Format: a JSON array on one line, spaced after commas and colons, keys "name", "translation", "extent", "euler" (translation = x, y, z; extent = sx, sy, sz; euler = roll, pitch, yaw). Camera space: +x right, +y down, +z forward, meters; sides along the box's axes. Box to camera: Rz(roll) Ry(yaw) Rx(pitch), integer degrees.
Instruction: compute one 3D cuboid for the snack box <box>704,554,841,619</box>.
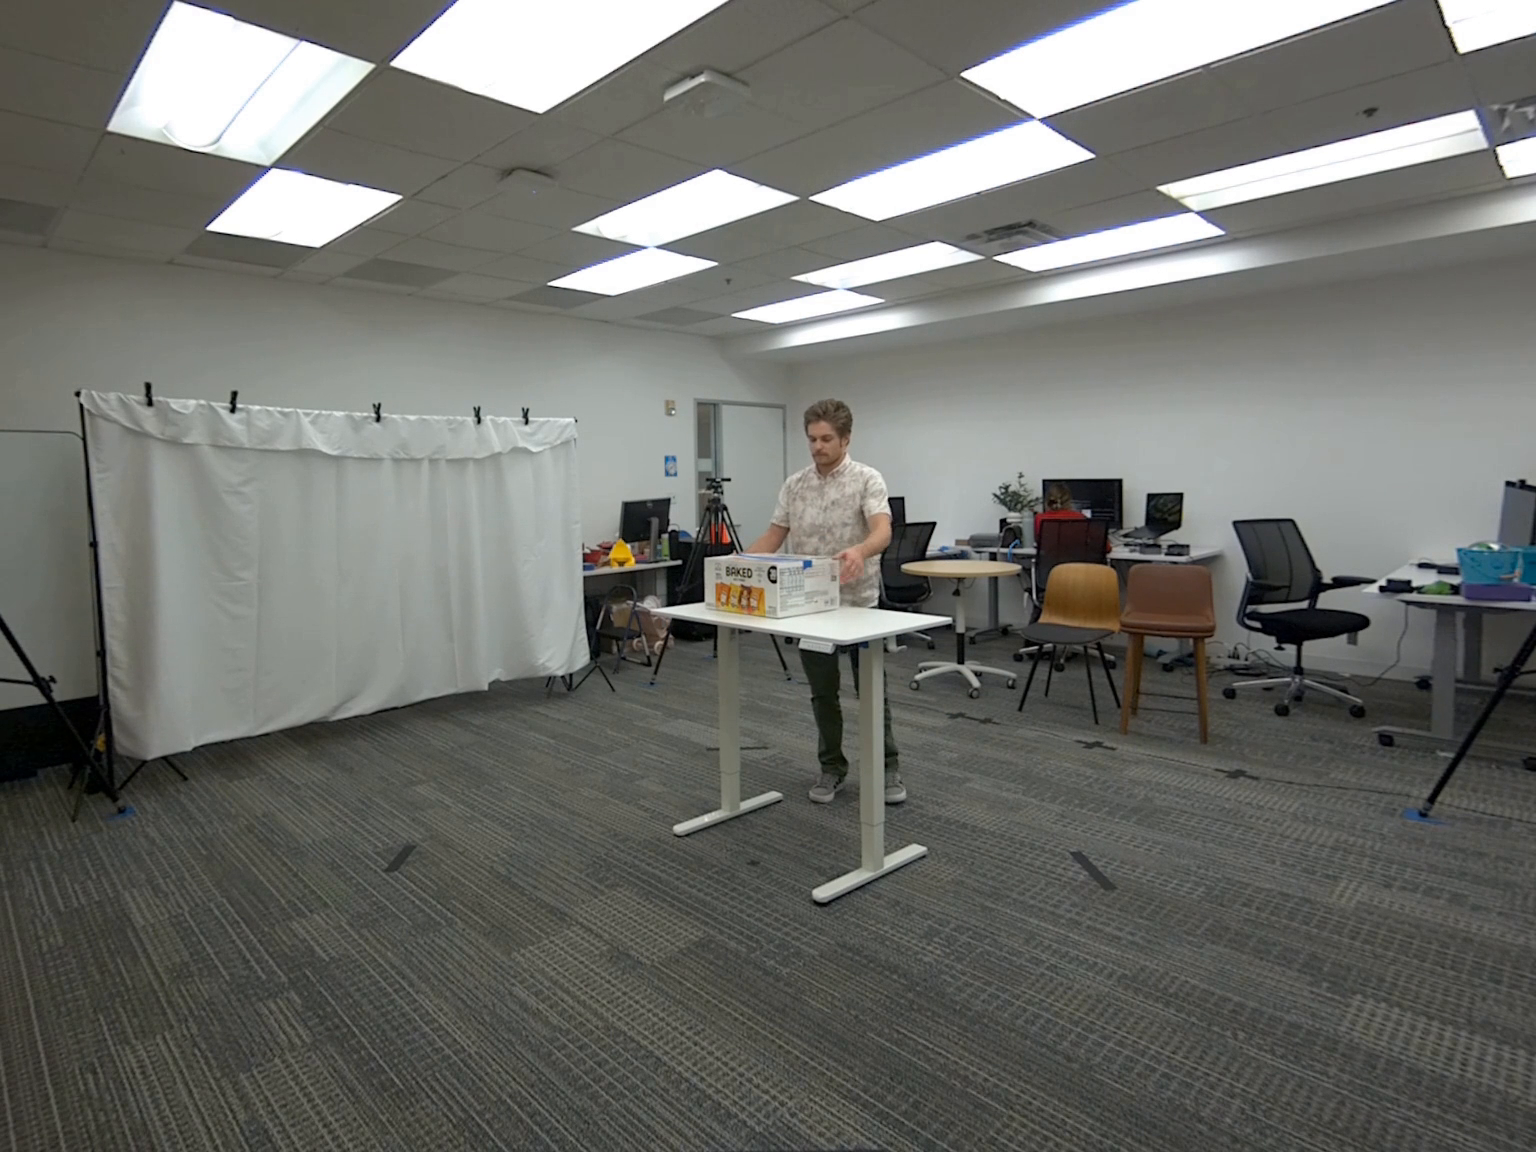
[{"name": "snack box", "translation": [0.014, 0.029, 3.342], "extent": [0.331, 0.205, 0.417], "euler": [-6, 7, -43]}]
